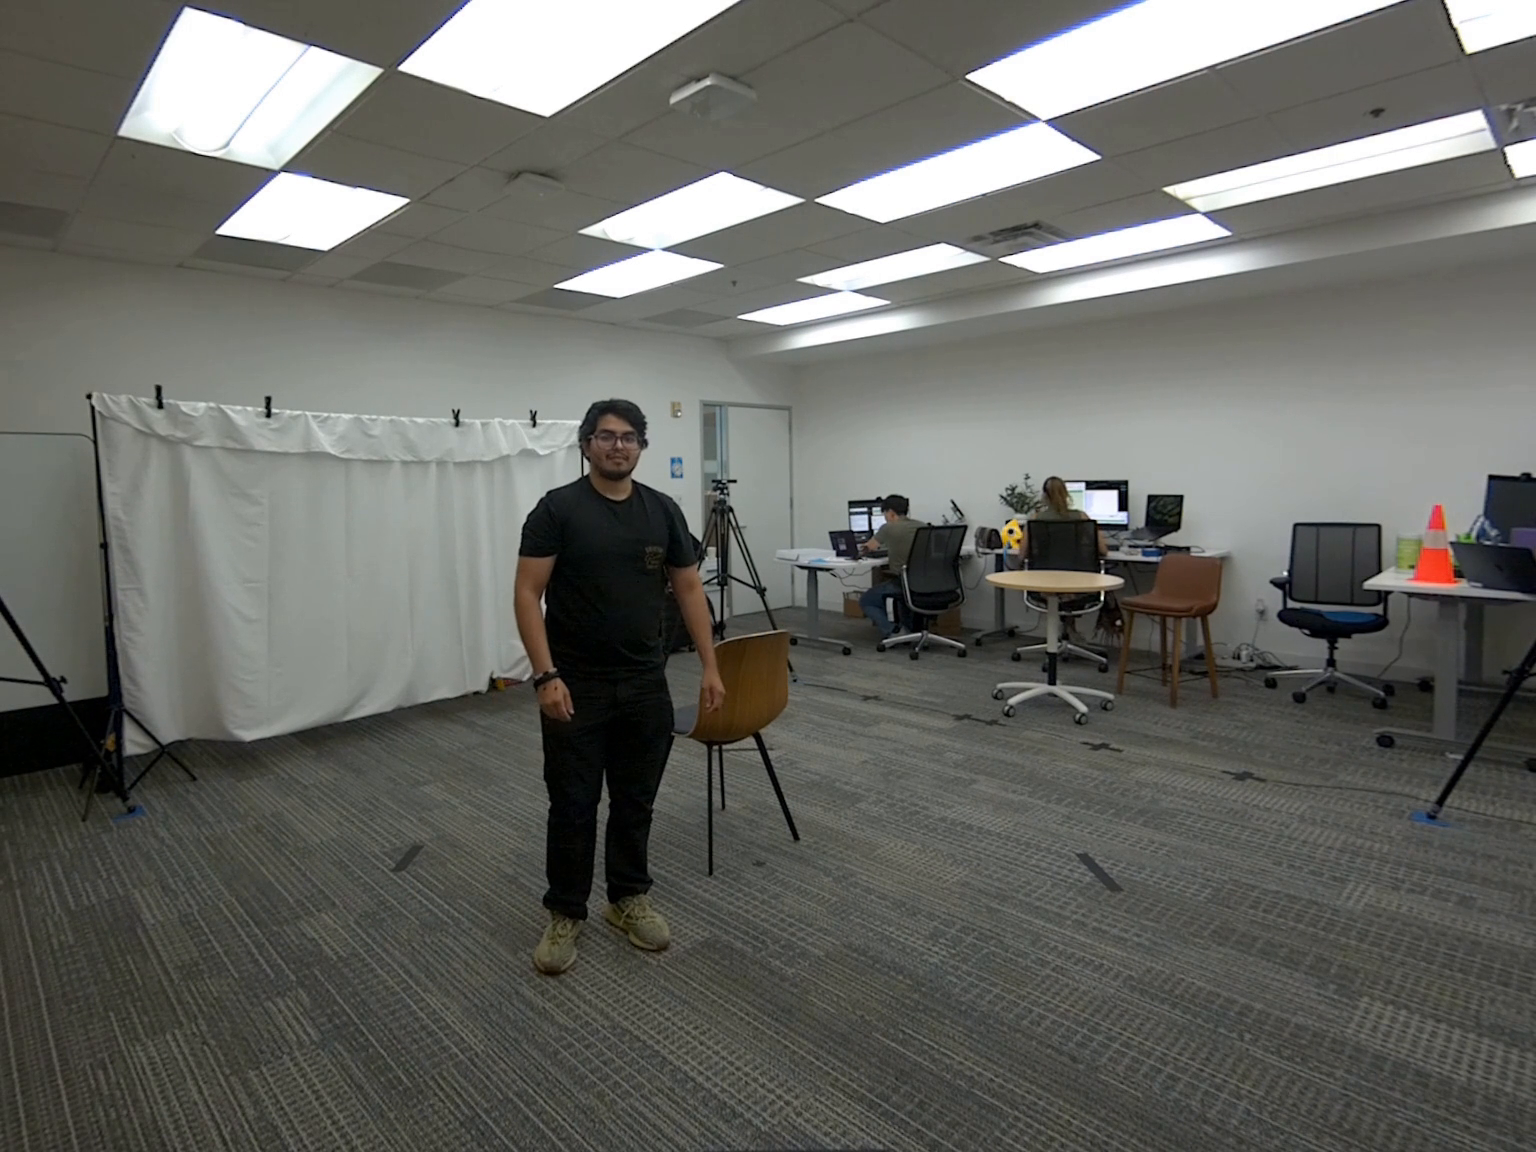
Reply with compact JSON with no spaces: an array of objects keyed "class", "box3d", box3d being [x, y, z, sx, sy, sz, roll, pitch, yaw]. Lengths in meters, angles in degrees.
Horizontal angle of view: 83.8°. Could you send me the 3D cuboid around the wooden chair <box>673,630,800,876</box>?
[{"class":"wooden chair","box3d":[-0.205,0.601,3.308,0.465,0.872,0.540,-5,10,-42]}]
